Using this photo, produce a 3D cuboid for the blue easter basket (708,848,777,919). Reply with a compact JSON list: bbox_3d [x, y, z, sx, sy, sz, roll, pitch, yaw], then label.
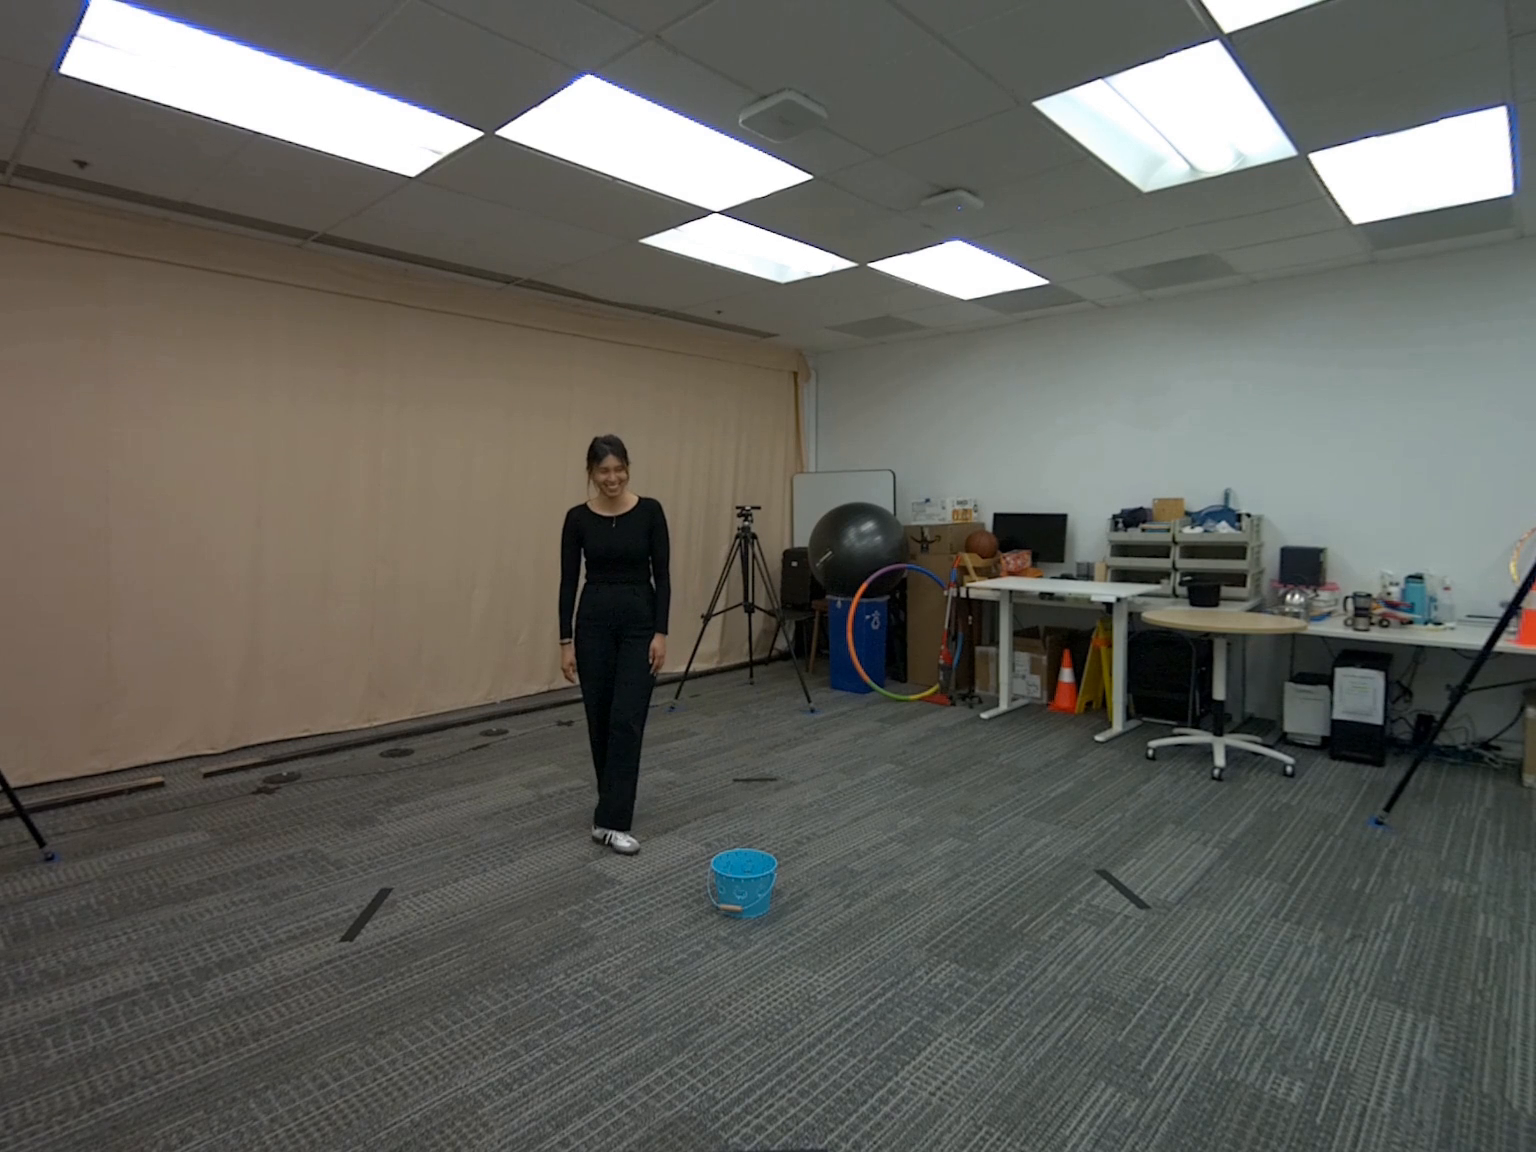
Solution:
[{"bbox_3d":[-0.086,1.070,2.927,0.243,0.155,0.244,0,4,-2],"label":"blue easter basket"}]
